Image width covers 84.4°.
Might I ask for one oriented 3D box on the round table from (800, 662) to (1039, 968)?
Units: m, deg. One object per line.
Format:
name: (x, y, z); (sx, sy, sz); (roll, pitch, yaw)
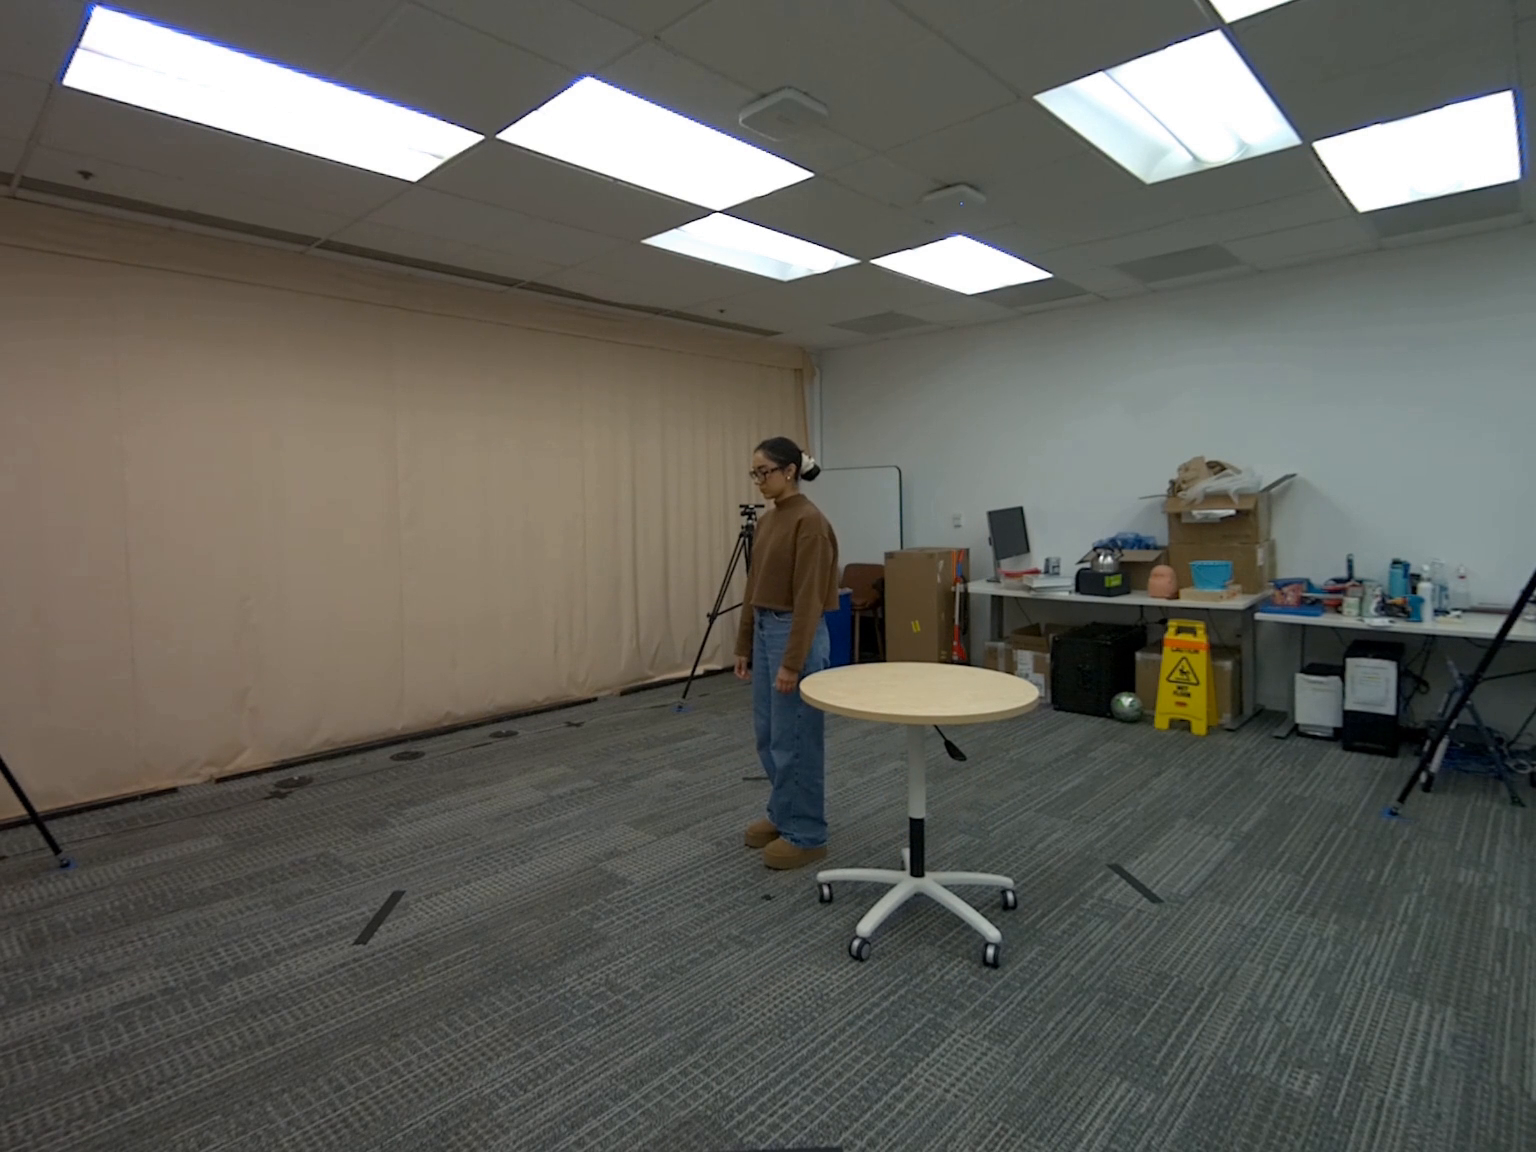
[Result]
round table: (0.505, 0.757, 2.810); (0.763, 0.792, 0.767); (-1, 4, -2)
